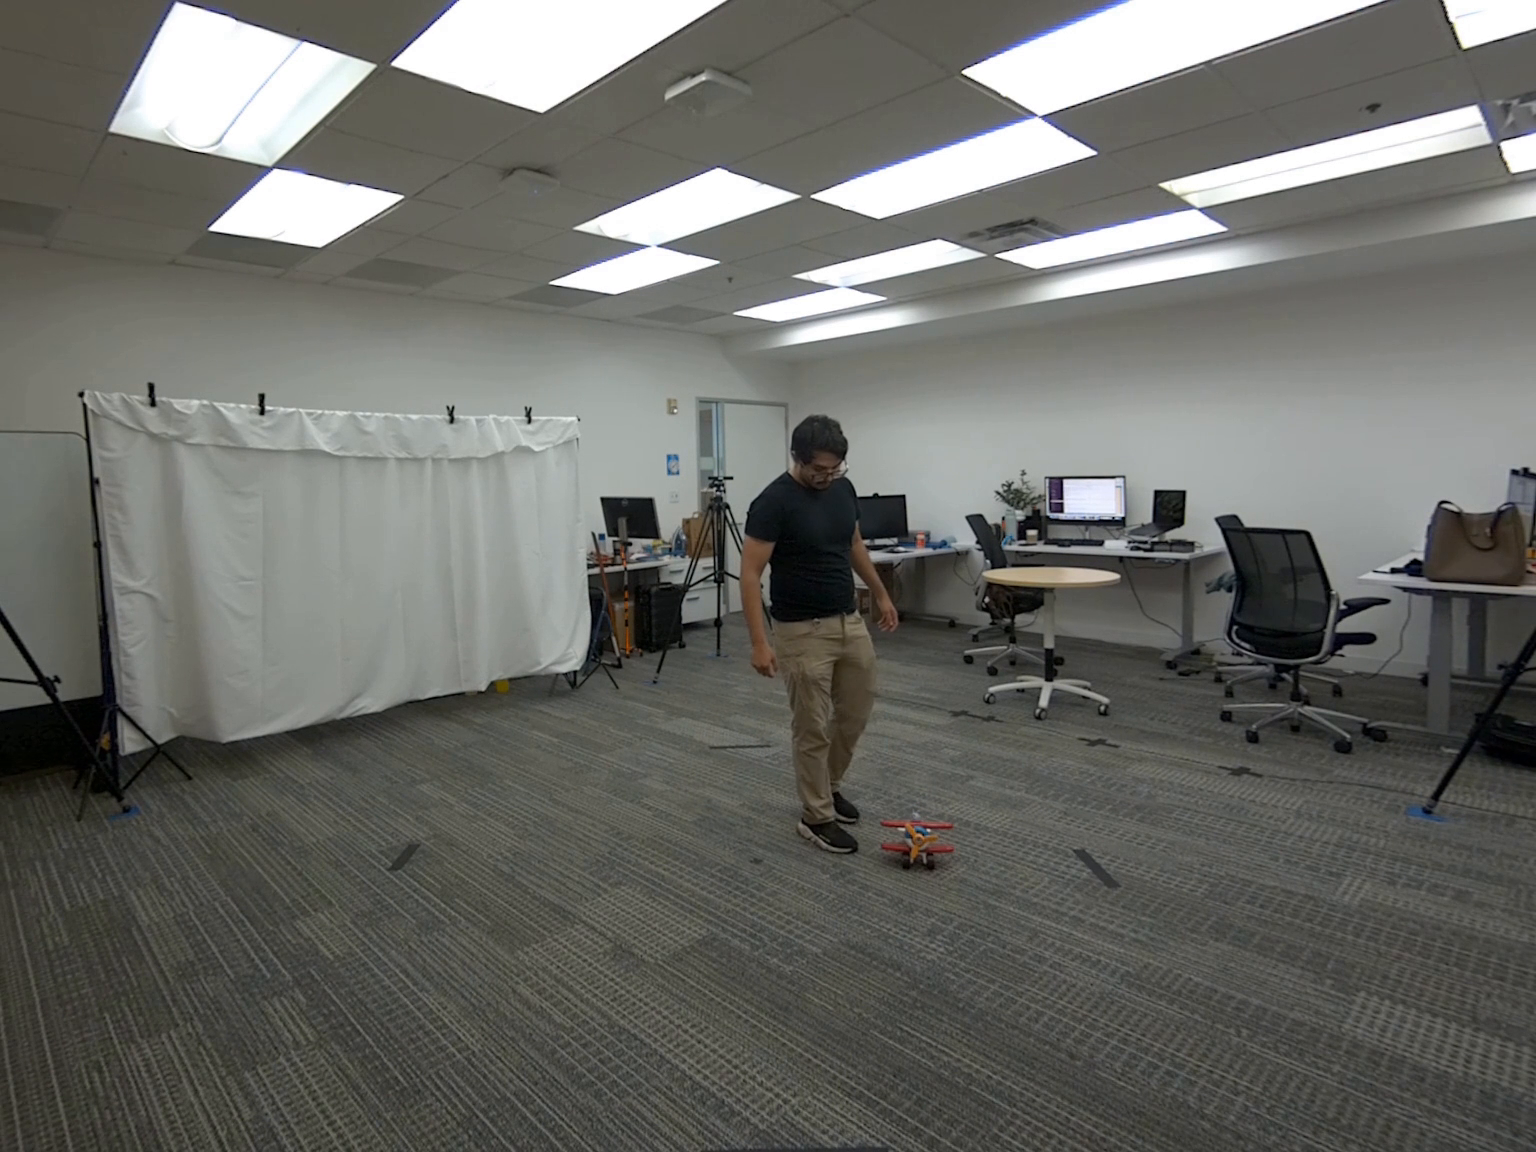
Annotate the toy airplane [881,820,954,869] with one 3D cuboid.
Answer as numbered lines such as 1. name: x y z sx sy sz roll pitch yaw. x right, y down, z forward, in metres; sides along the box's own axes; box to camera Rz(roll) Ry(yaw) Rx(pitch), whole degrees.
1. toy airplane: 0.520 0.950 3.103 0.247 0.155 0.265 -4 9 -21
